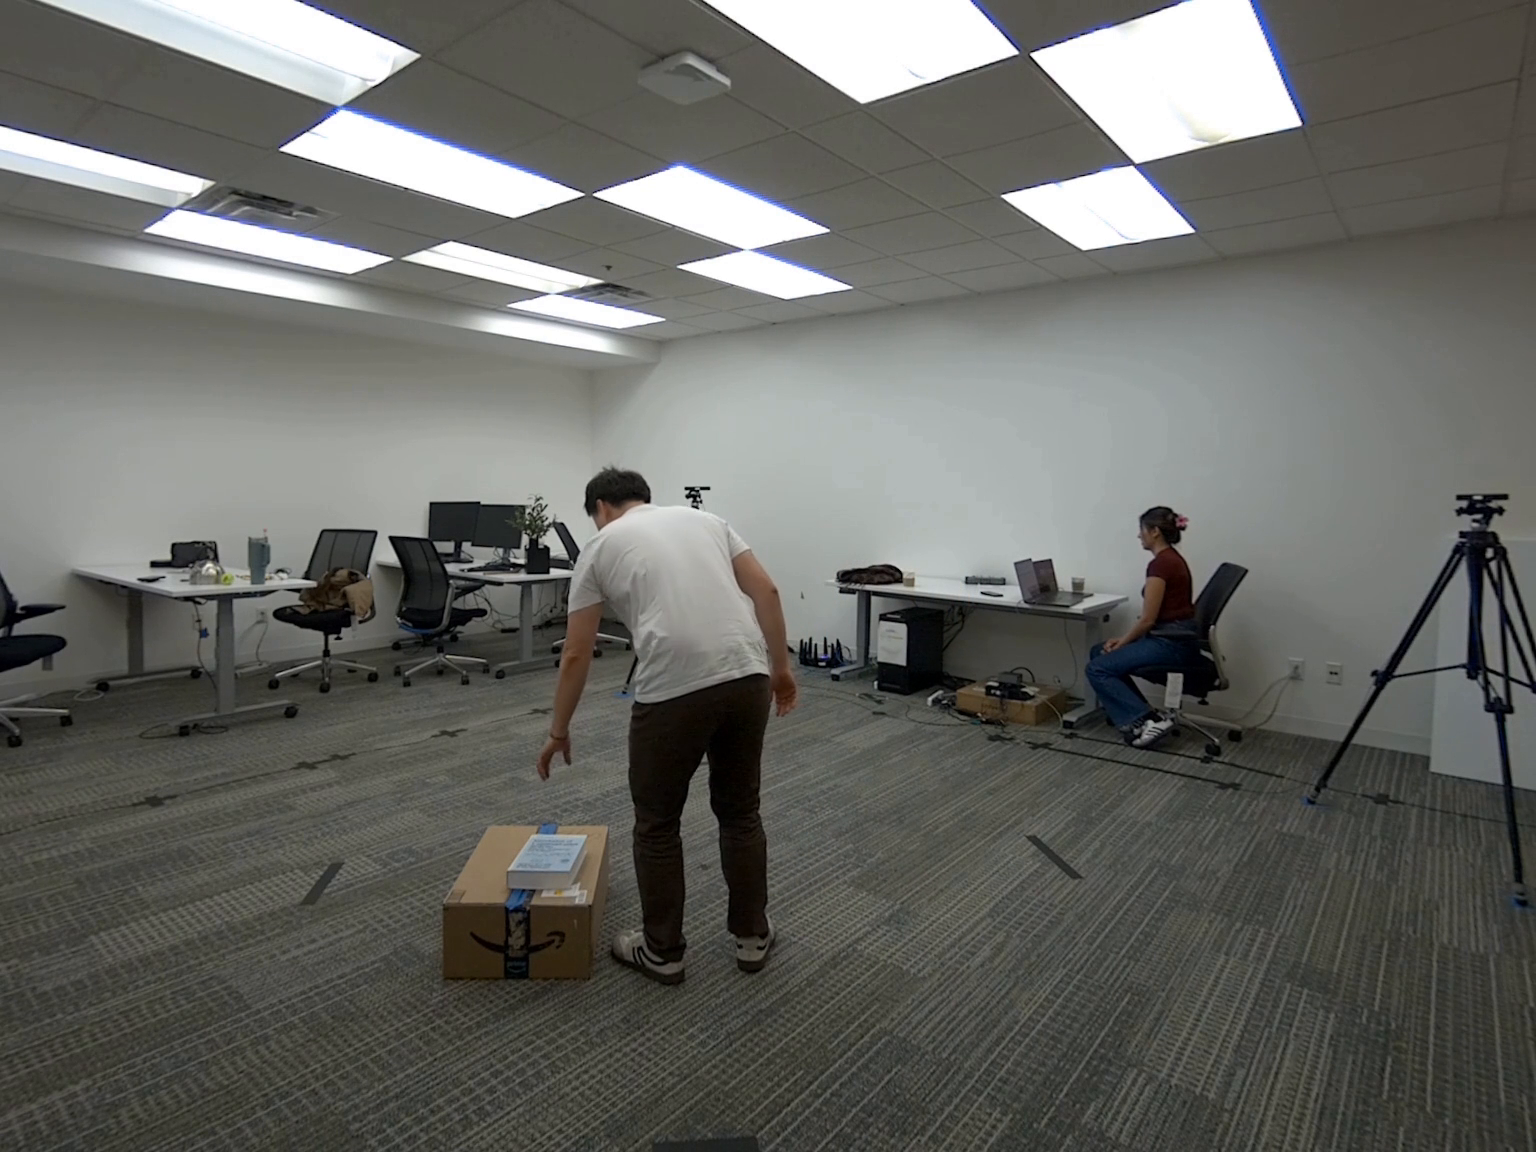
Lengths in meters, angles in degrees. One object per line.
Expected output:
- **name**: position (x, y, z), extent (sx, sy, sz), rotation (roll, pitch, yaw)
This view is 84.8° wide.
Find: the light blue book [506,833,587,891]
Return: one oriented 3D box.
- **light blue book**: position (-0.689, 0.875, 2.612), extent (0.192, 0.059, 0.262), rotation (0, 5, 0)
